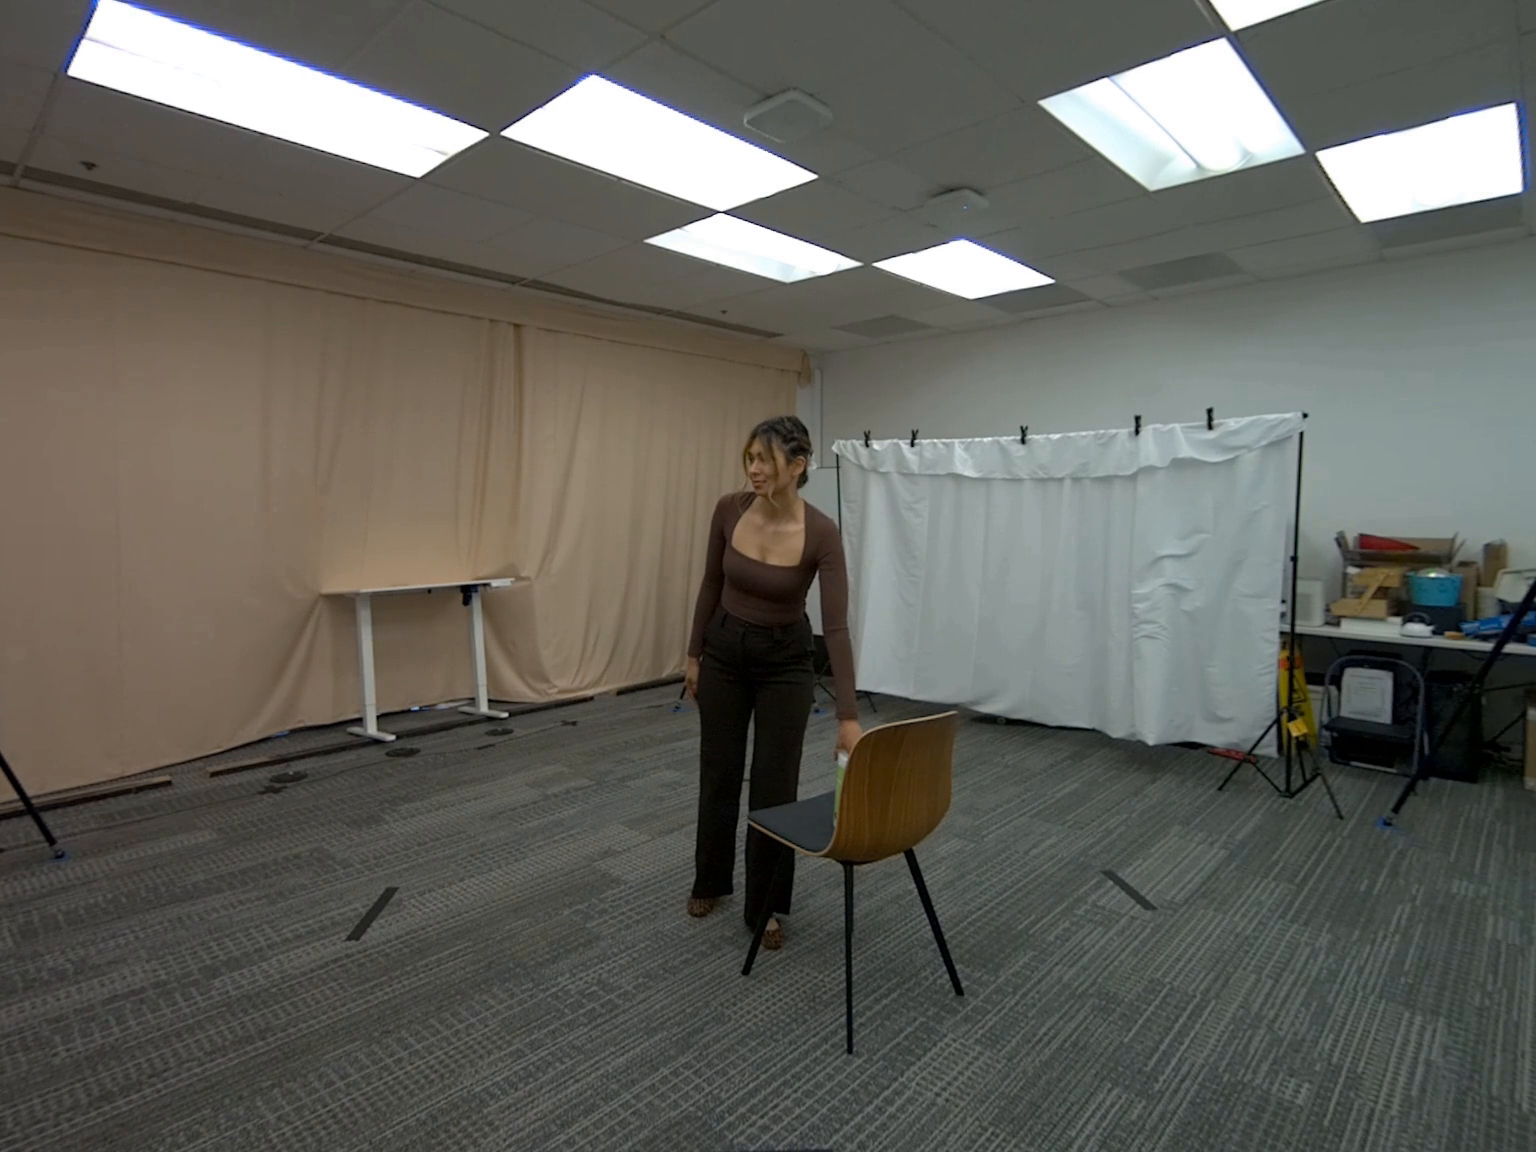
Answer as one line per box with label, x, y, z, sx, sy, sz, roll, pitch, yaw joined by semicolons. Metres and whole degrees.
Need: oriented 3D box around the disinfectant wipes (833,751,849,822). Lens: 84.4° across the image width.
disinfectant wipes;0.262;0.618;2.395;0.117;0.216;0.118;2;7;-2
